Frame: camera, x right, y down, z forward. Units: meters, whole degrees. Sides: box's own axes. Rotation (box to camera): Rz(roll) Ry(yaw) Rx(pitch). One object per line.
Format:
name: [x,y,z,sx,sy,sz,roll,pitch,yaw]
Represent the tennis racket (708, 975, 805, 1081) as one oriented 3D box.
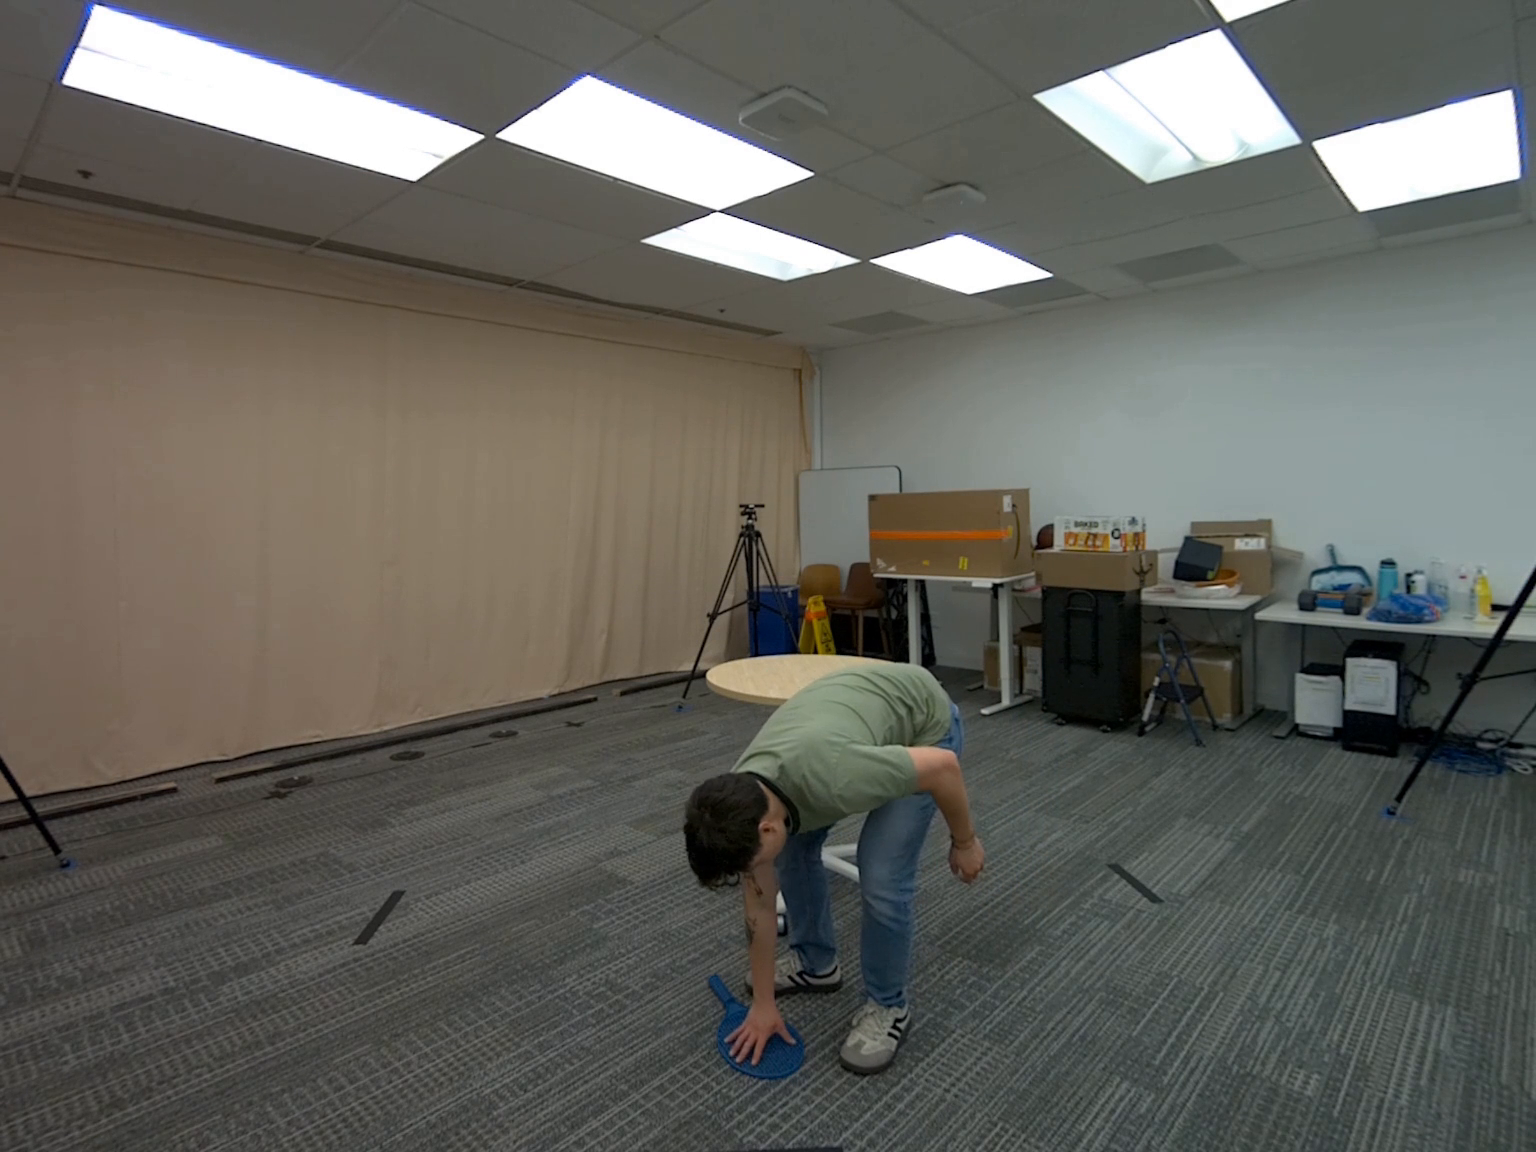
tennis racket: [-0.050,1.195,2.242,0.208,0.031,0.445,-2,7,-28]
